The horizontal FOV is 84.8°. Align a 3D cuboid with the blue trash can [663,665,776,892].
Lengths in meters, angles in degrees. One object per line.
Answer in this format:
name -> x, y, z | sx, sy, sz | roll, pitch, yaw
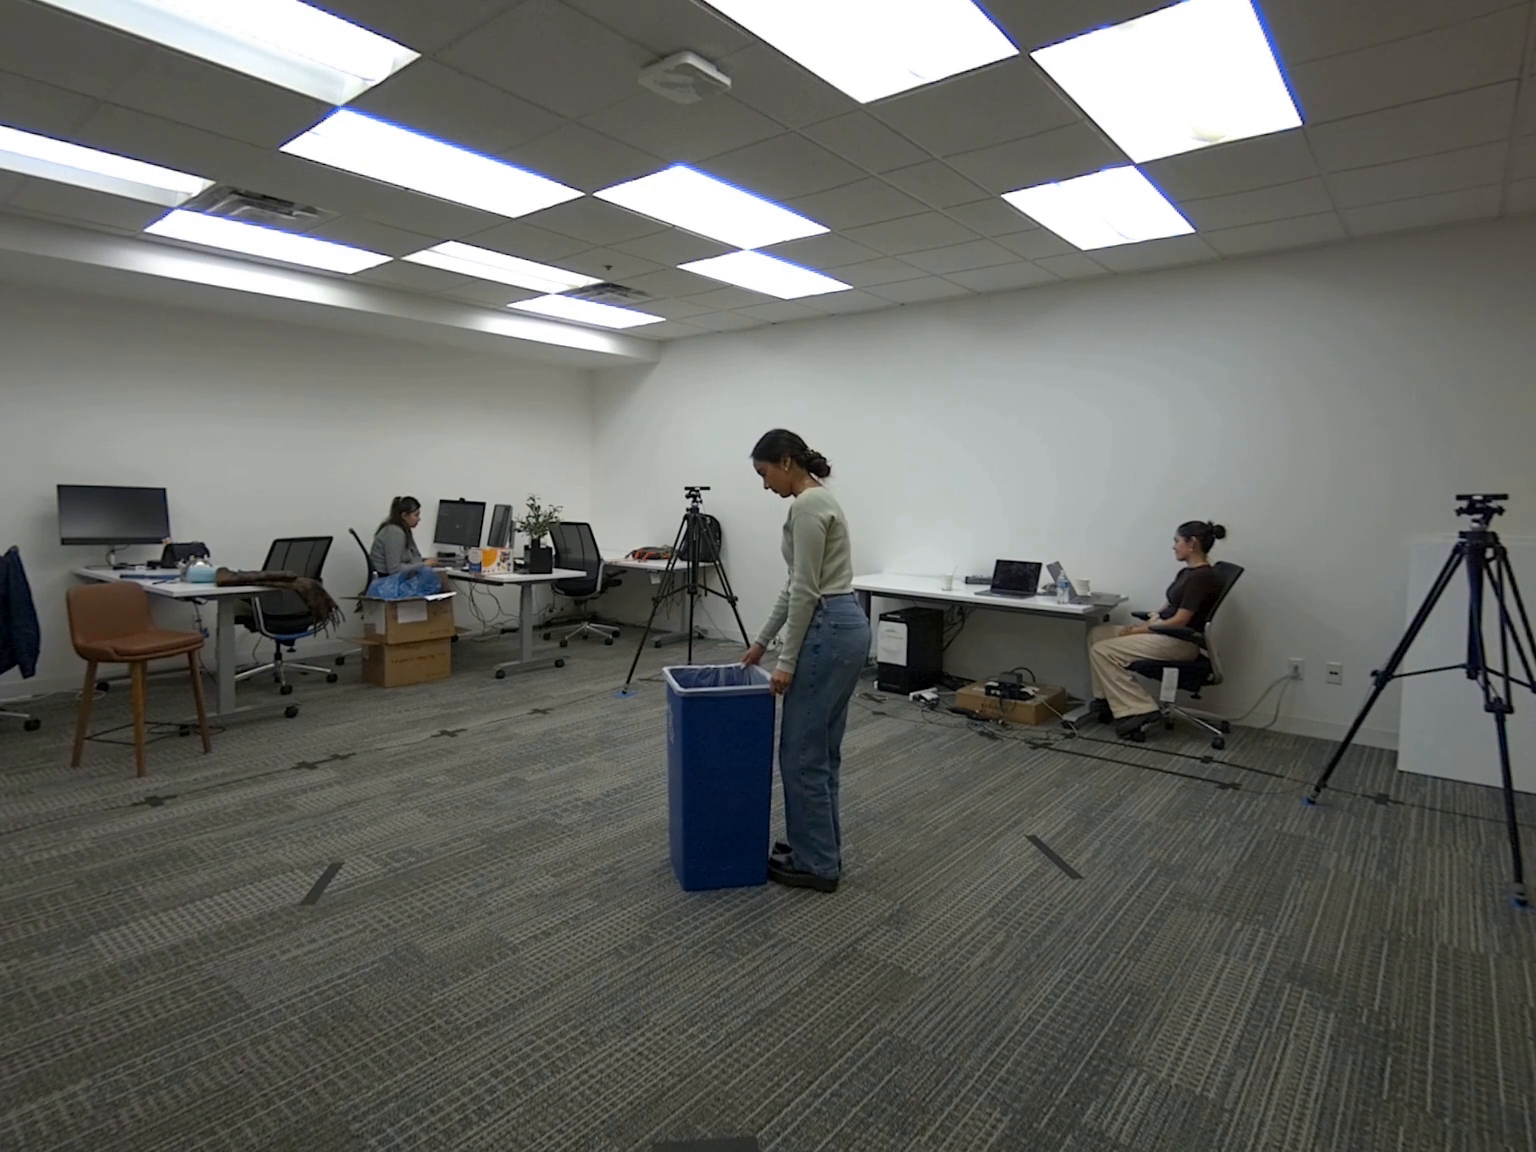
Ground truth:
blue trash can -> -0.185, 0.711, 3.072 | 0.373, 0.711, 0.381 | 0, 3, -15
